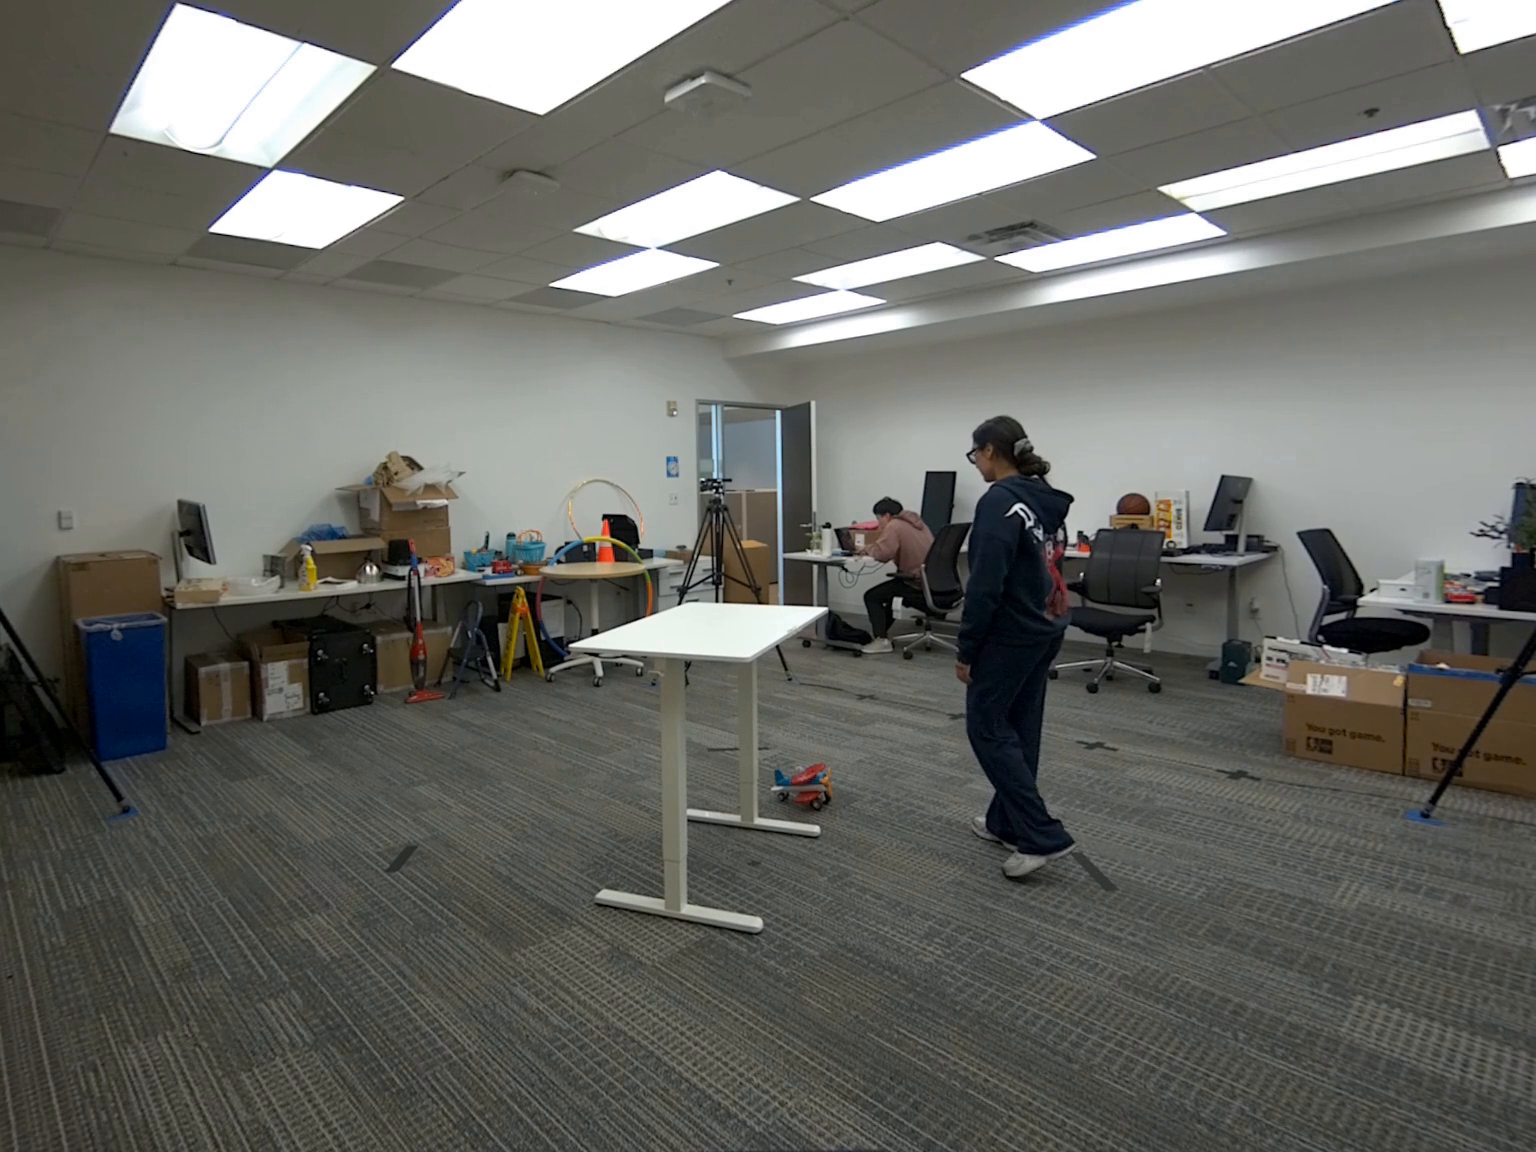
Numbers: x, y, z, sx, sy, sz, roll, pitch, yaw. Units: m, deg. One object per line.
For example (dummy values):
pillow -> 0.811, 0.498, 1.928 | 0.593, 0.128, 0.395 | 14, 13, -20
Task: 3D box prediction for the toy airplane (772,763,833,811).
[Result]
toy airplane -> 0.143, 0.910, 3.640 | 0.260, 0.156, 0.252 | 0, 5, 1
